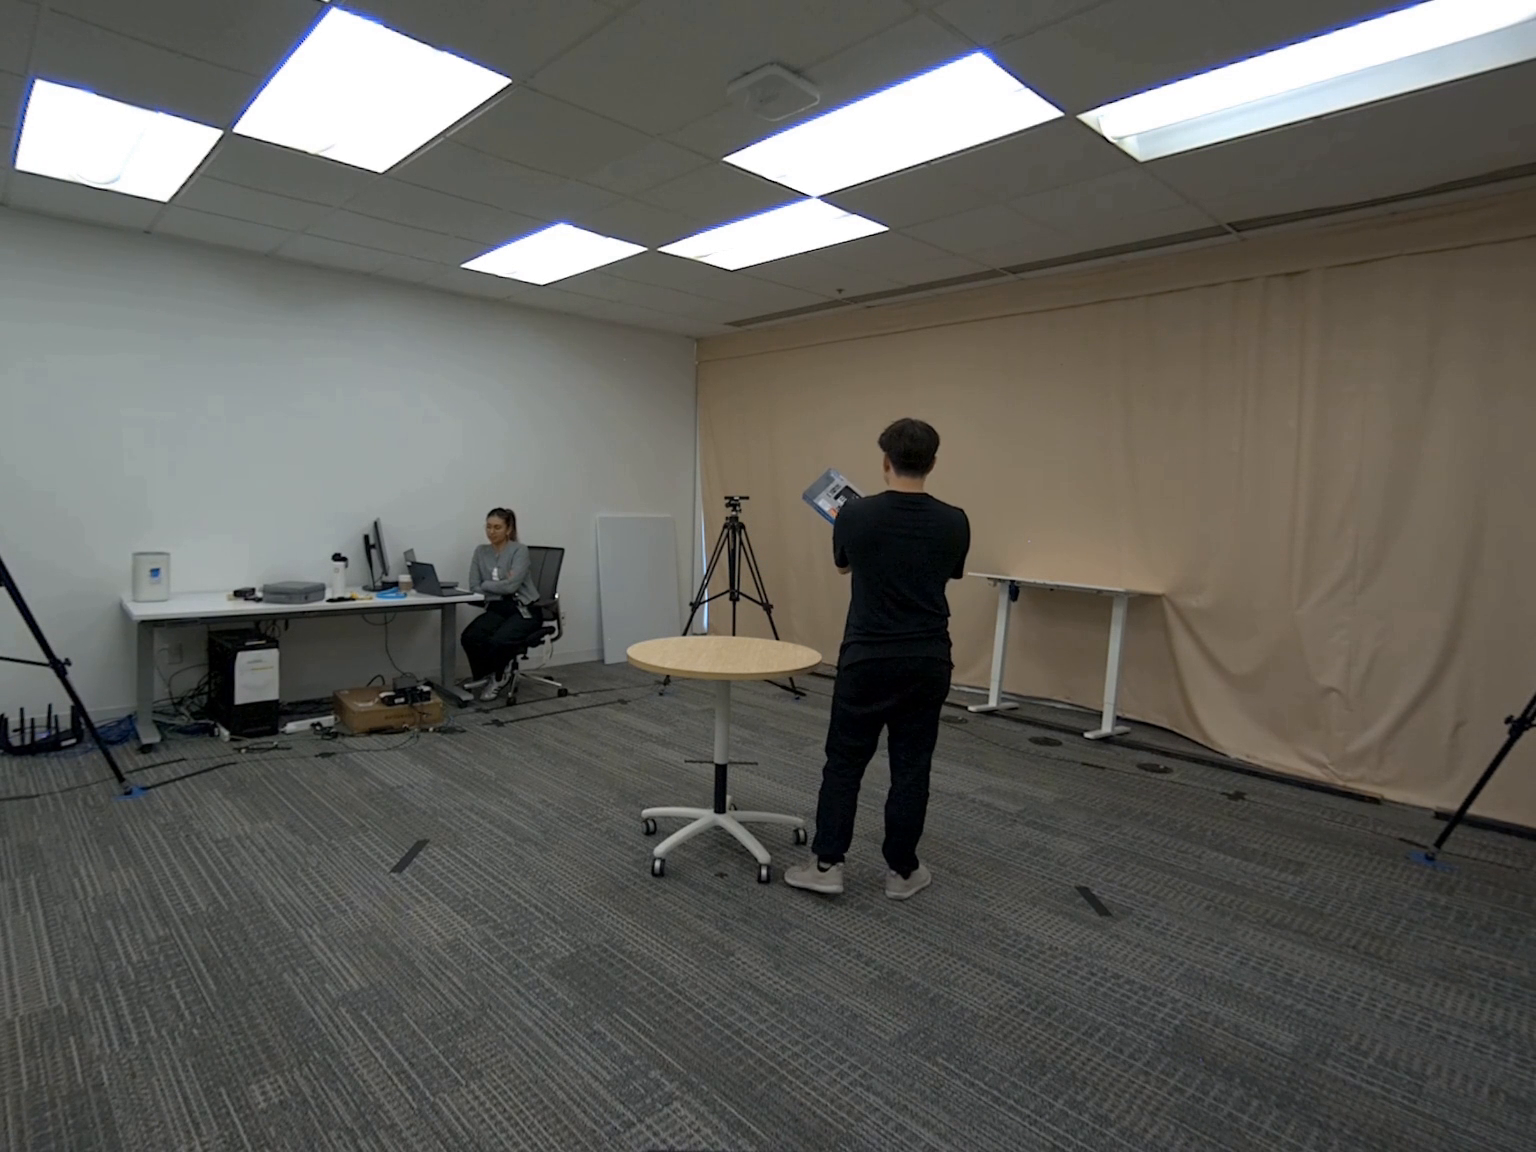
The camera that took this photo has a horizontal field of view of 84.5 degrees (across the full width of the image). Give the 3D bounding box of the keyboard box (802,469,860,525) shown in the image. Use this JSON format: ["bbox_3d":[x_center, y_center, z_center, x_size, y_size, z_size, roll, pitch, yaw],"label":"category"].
[{"bbox_3d":[0.362,-0.239,3.454,0.445,0.176,0.058,42,-15,17],"label":"keyboard box"}]
